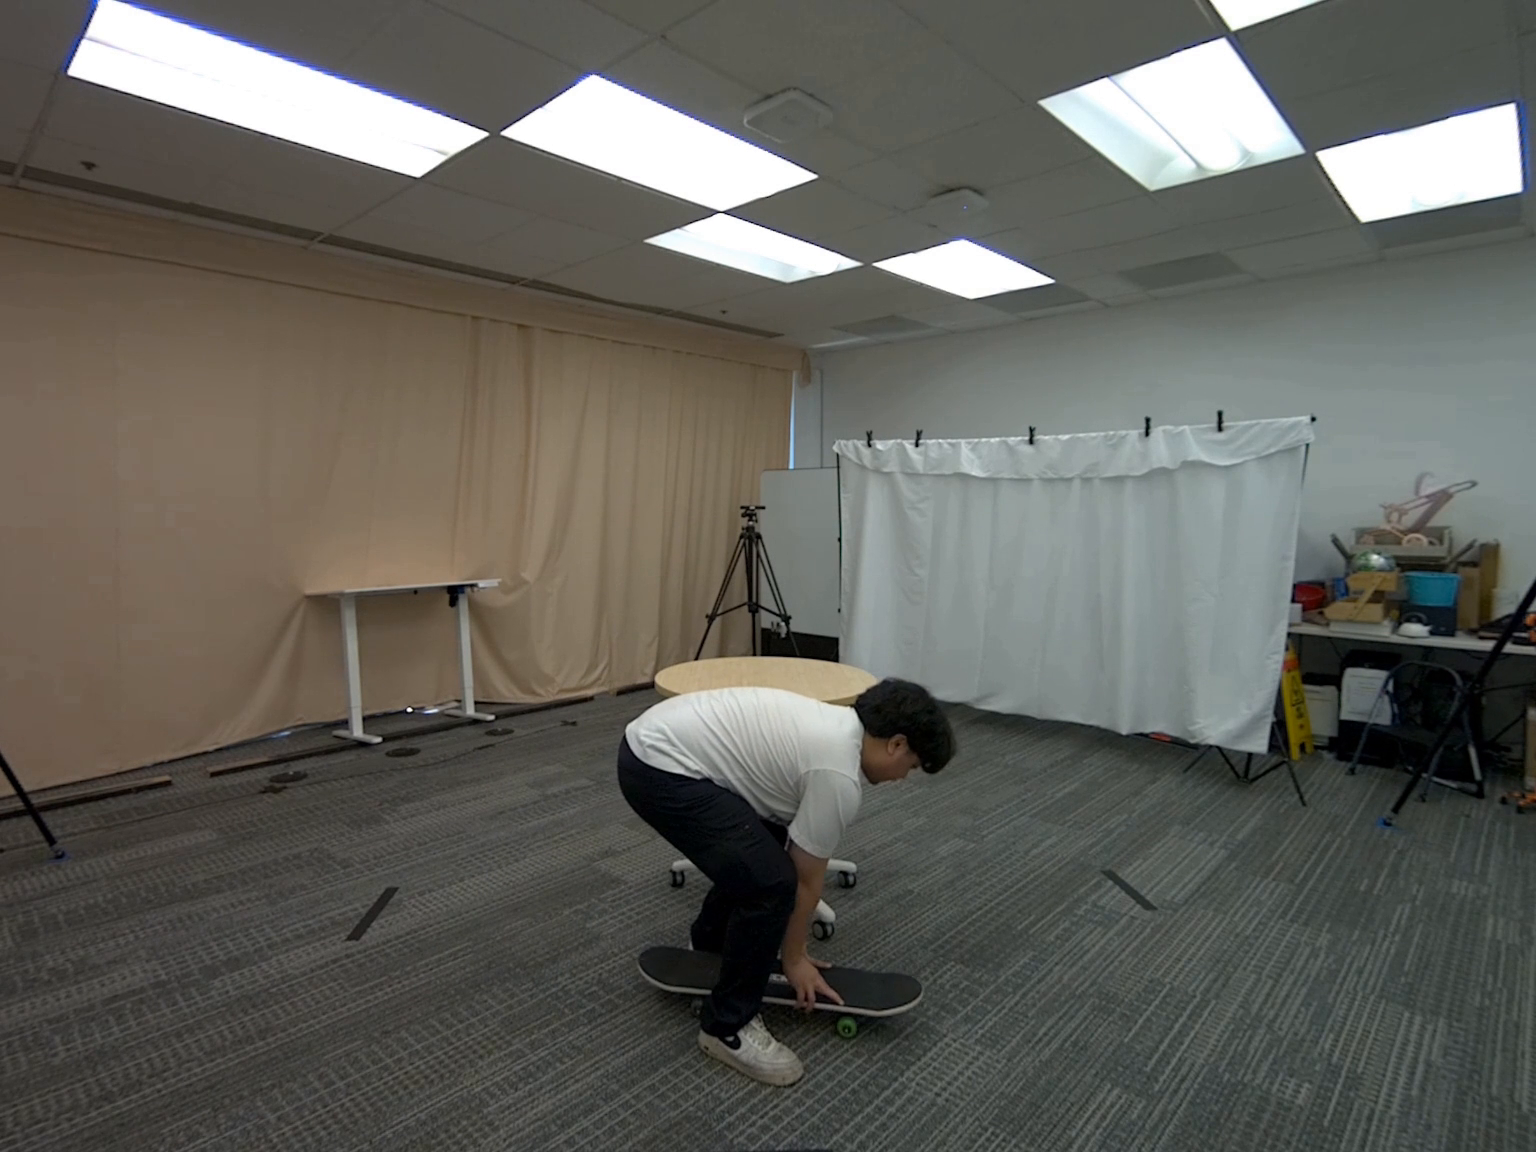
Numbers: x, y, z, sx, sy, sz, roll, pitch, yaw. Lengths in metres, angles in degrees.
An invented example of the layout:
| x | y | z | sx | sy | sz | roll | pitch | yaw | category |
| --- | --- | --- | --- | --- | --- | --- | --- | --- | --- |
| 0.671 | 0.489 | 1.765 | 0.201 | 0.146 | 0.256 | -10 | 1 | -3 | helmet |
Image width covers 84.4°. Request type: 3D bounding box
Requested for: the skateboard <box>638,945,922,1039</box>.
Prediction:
| x | y | z | sx | sy | sz | roll | pitch | yaw | category |
| --- | --- | --- | --- | --- | --- | --- | --- | --- | --- |
| 0.020 | 1.143 | 2.323 | 0.795 | 0.110 | 0.191 | 1 | 5 | 11 | skateboard |
